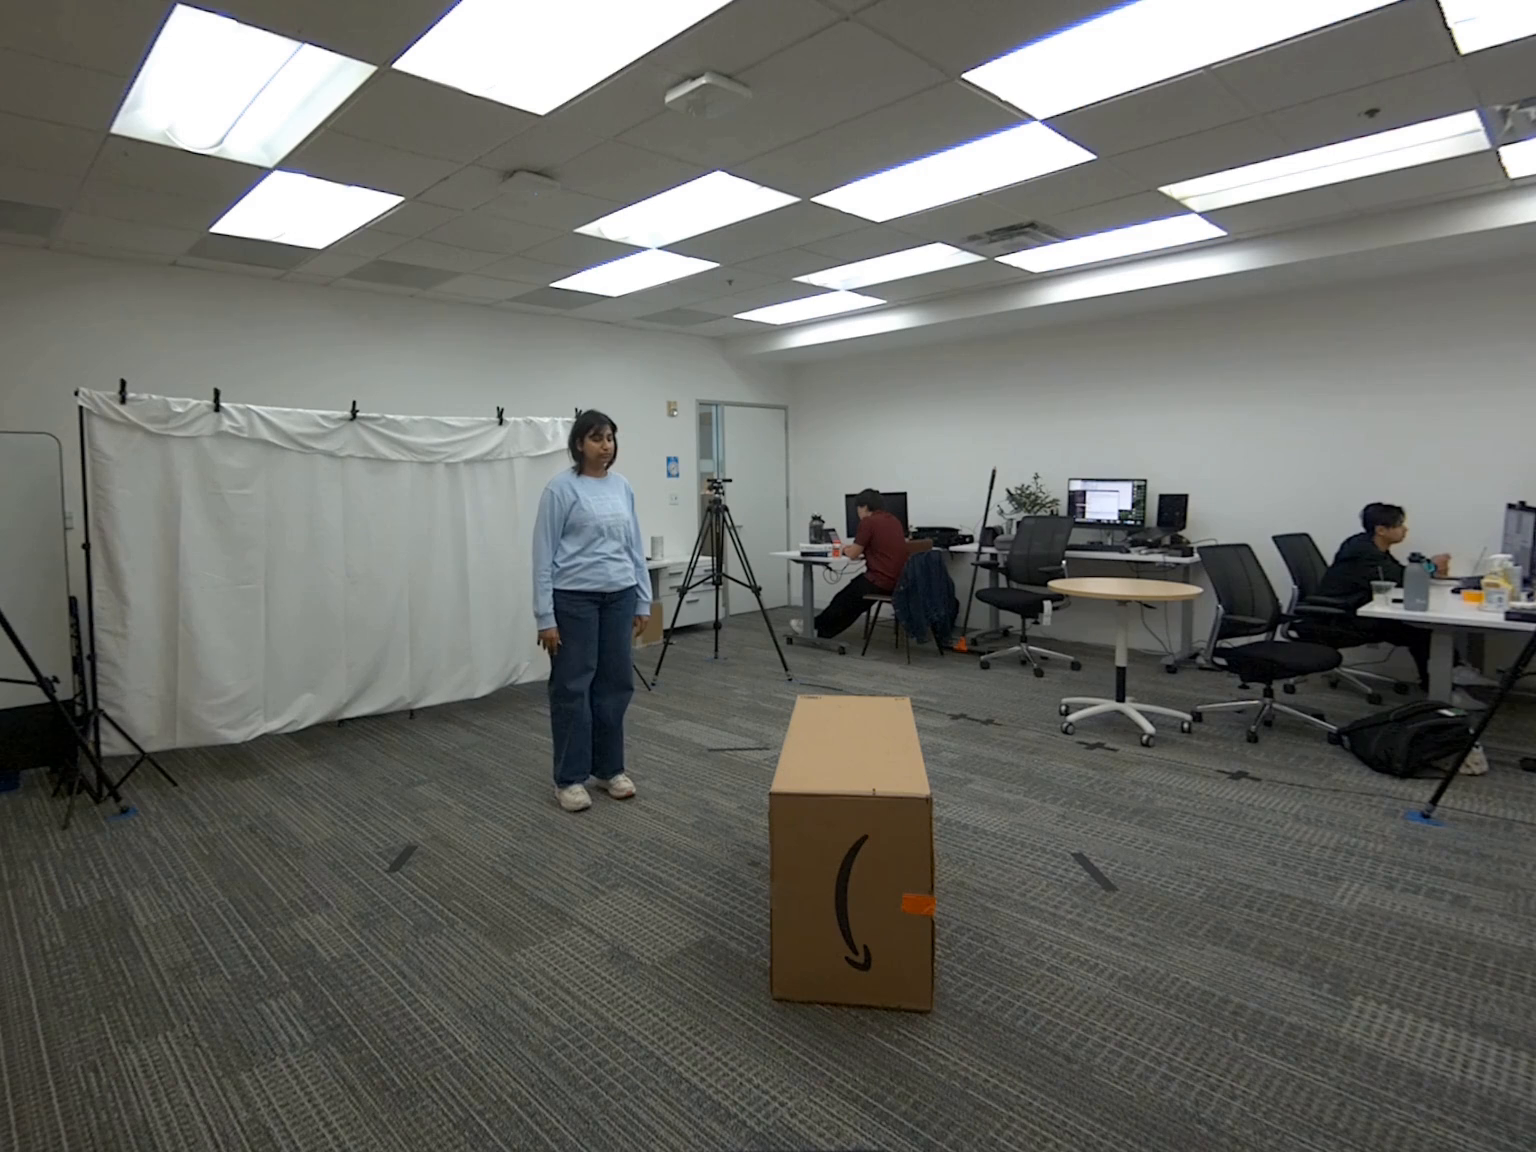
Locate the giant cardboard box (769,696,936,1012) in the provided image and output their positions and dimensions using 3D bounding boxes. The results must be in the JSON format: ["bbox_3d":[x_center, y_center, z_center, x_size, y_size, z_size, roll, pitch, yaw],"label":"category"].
[{"bbox_3d":[0.275,0.790,2.734,0.429,0.575,1.022,0,6,7],"label":"giant cardboard box"}]
